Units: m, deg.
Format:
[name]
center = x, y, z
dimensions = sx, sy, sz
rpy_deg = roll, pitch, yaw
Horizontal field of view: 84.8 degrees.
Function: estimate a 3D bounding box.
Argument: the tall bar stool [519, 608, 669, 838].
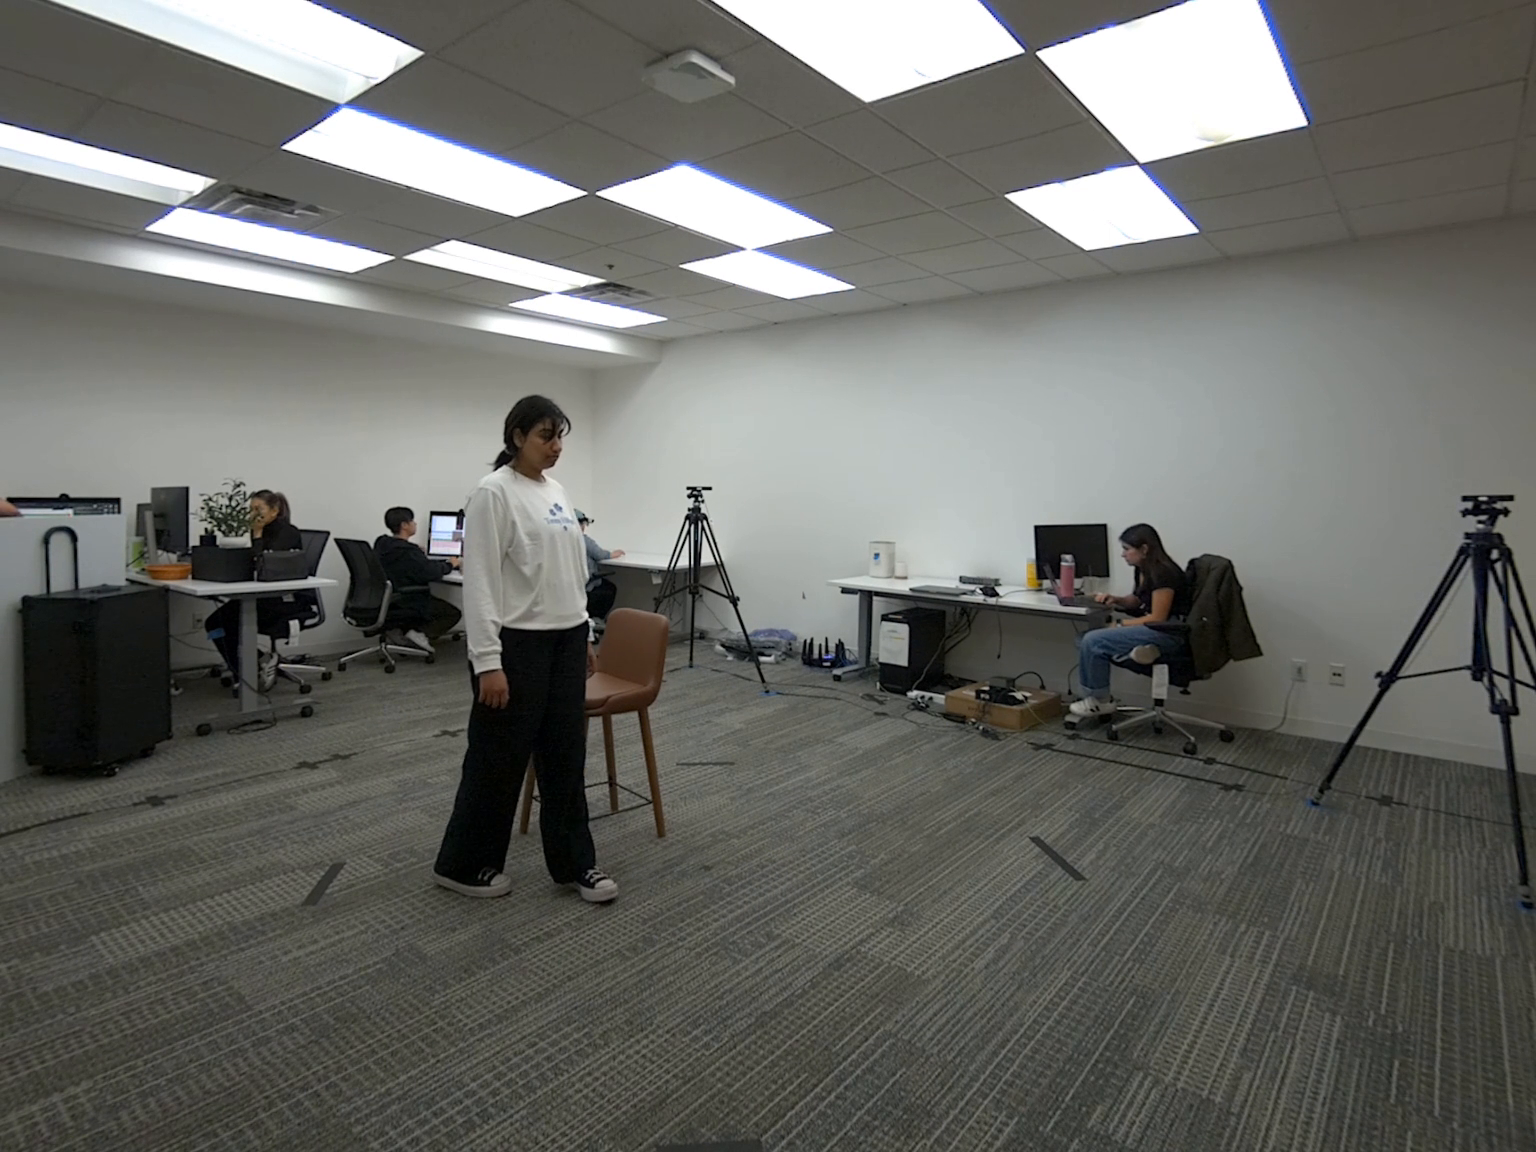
[tall bar stool]
center = -0.686, 0.596, 3.375
dimensions = 0.453, 0.888, 0.472
rpy_deg = 1, 2, -42
